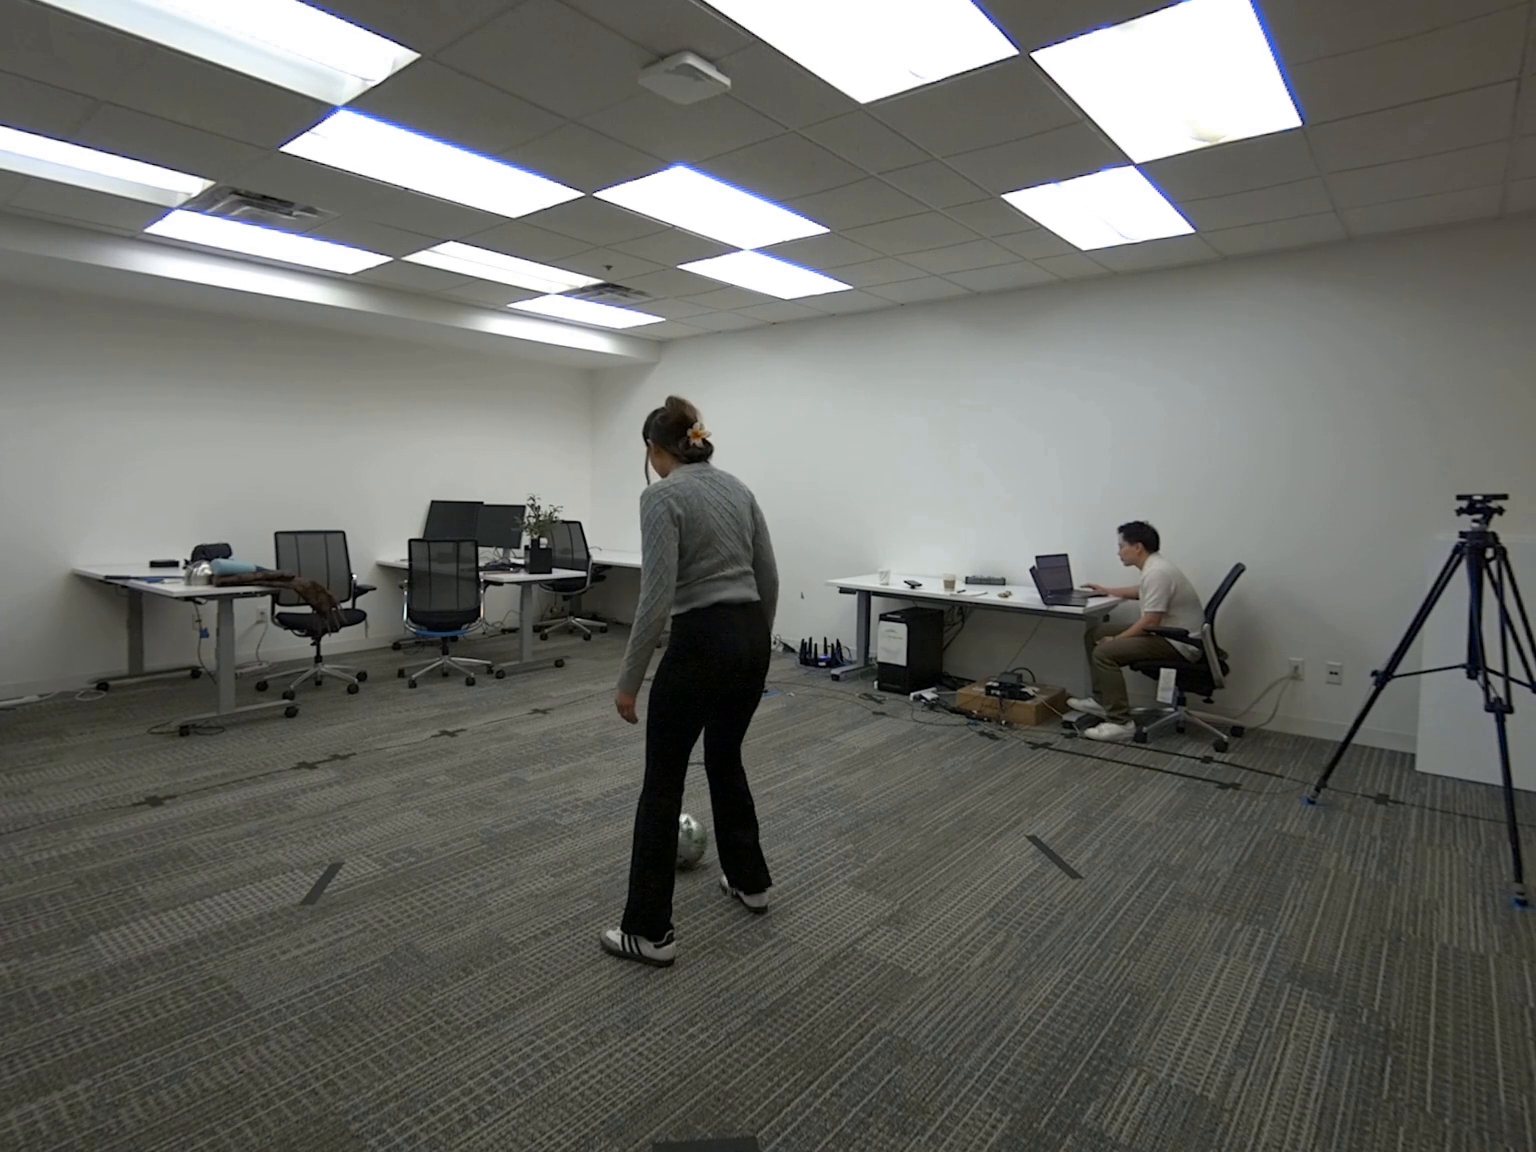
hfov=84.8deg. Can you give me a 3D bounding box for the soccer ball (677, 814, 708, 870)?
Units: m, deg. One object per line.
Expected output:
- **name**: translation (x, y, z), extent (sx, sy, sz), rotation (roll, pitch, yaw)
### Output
- **soccer ball**: translation (-0.317, 0.963, 3.124), extent (0.187, 0.187, 0.188), rotation (1, 4, -2)
